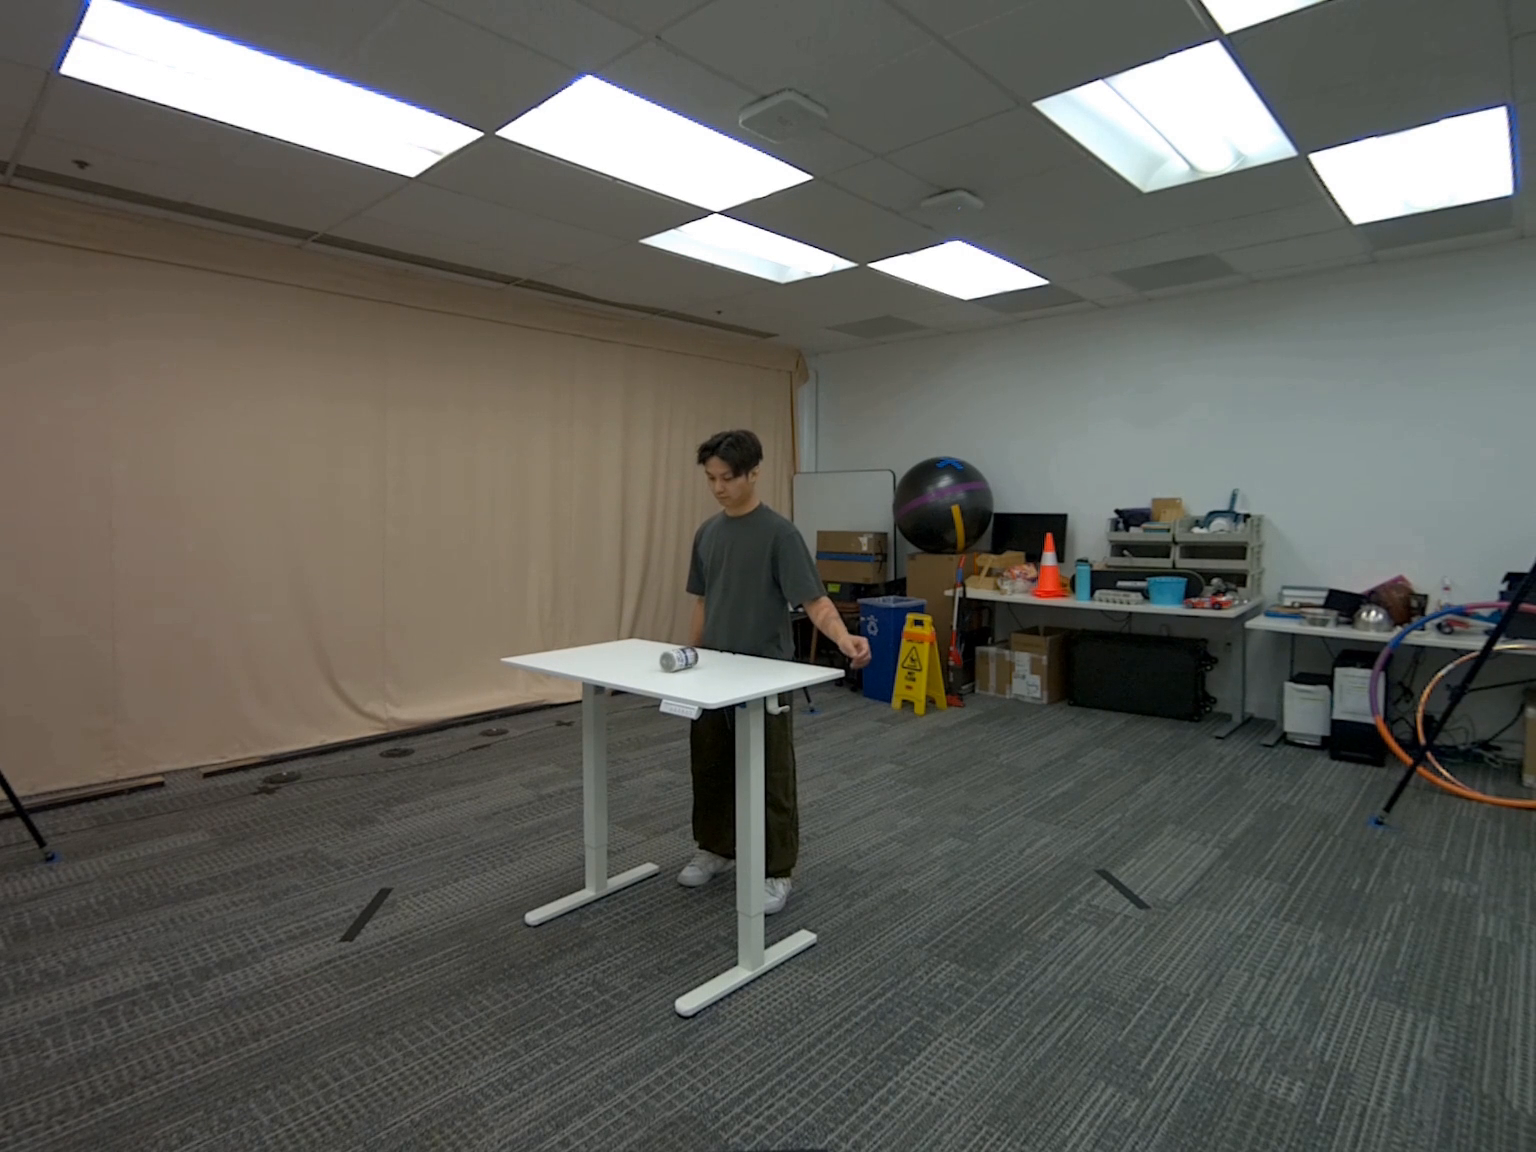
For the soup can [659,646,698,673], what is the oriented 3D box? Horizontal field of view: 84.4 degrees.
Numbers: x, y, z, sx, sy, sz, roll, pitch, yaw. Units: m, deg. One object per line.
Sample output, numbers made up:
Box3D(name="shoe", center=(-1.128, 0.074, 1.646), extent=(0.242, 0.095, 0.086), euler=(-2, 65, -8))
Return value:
Box3D(name="soup can", center=(-0.276, 0.261, 2.637), extent=(0.069, 0.067, 0.118), euler=(2, 6, 32))
